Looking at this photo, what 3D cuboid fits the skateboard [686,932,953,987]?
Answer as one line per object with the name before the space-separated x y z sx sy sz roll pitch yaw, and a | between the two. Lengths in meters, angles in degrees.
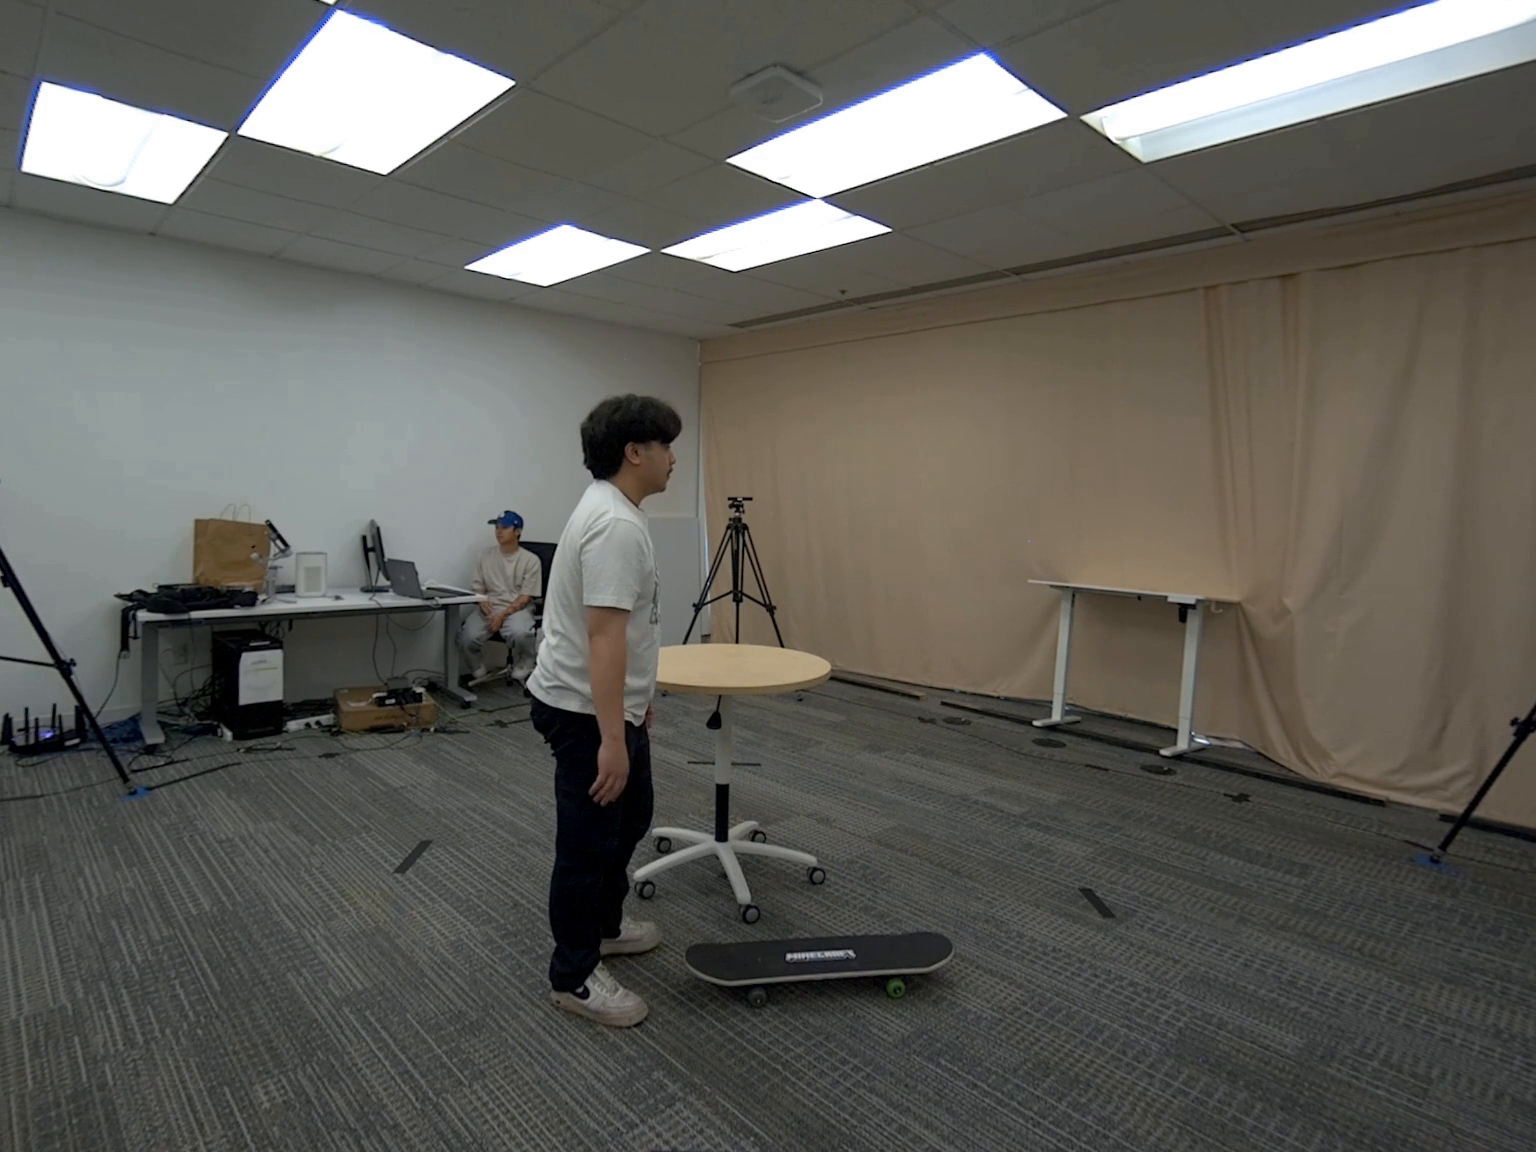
skateboard | 0.147 1.120 2.418 0.780 0.110 0.195 1 4 -9
